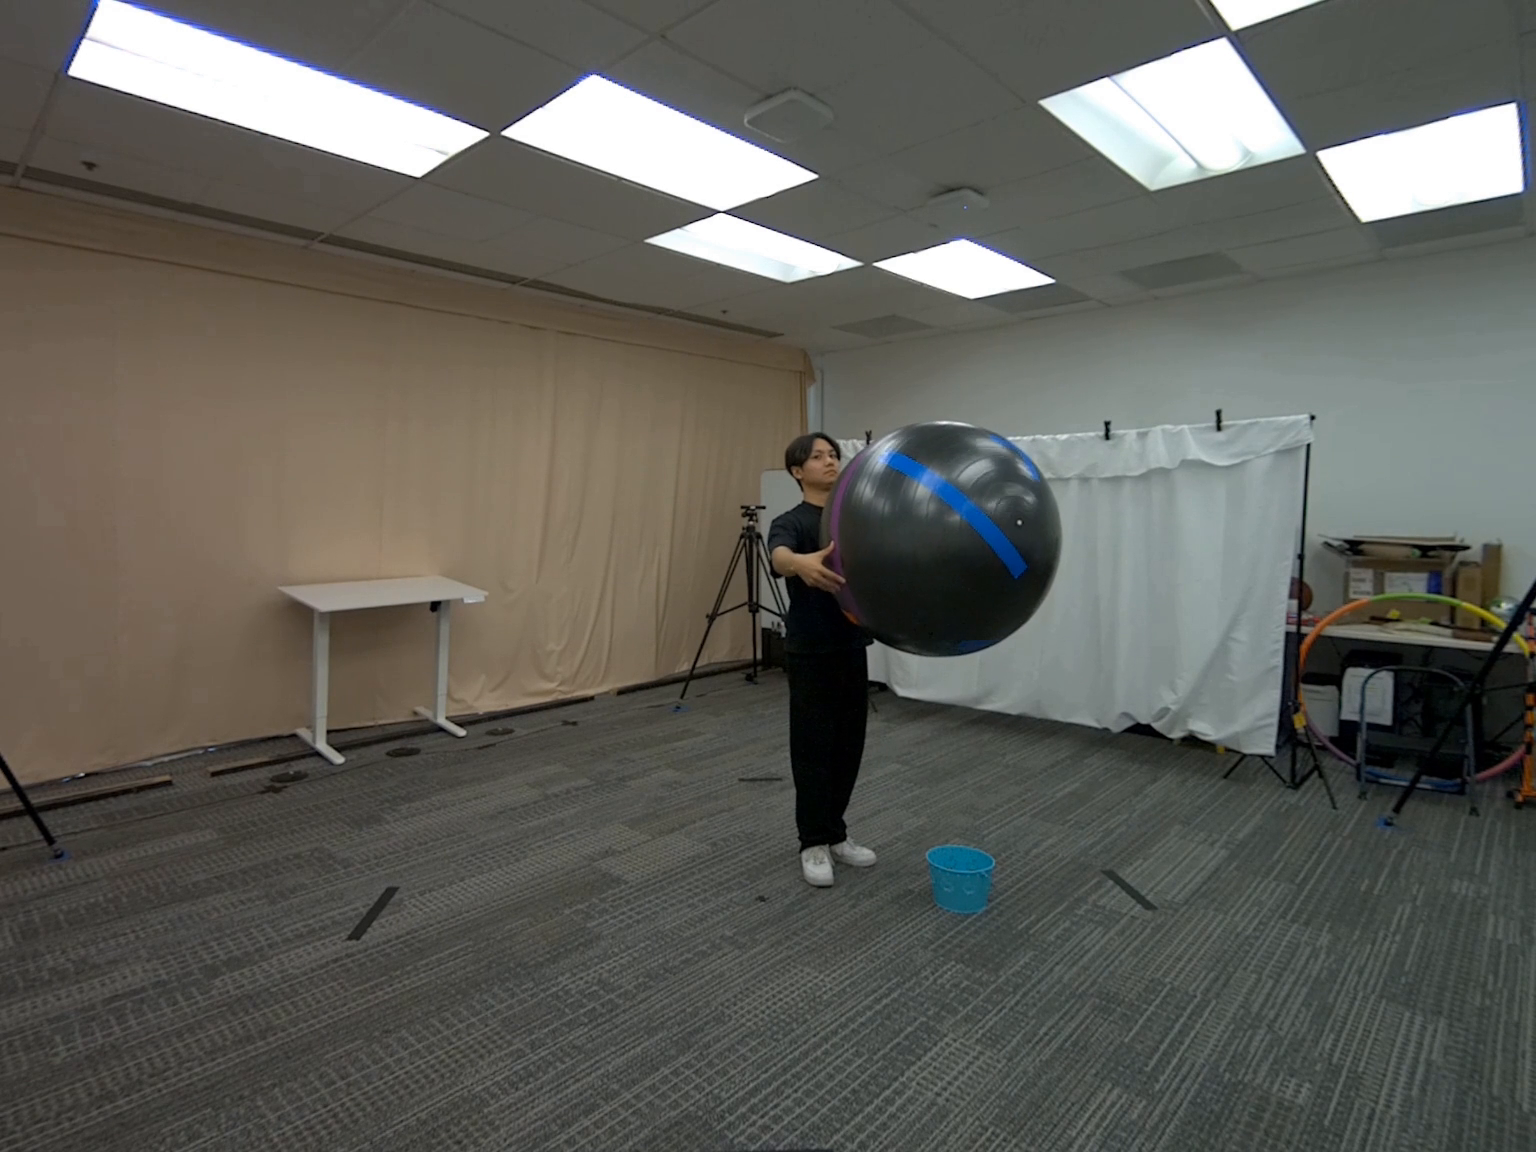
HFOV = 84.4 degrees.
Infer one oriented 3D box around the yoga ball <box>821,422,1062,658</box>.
[{"bbox_3d":[0.561,-0.115,2.734,0.757,0.756,0.760,0,4,-2],"label":"yoga ball"}]
